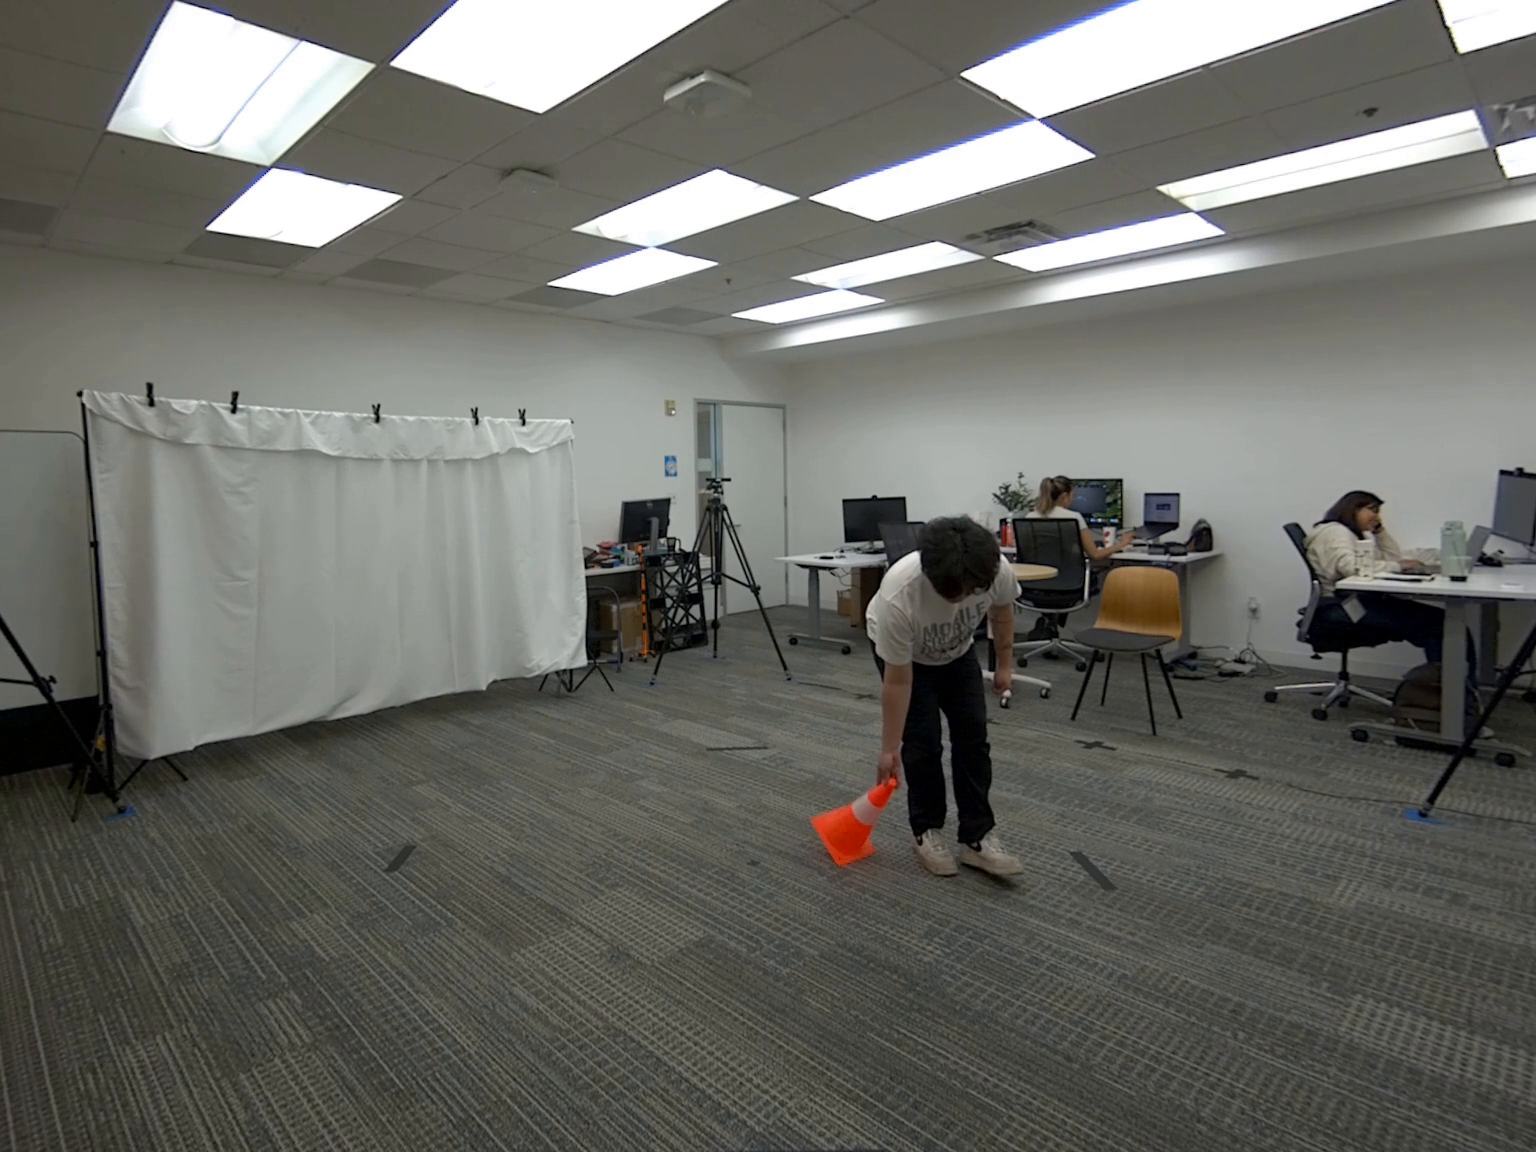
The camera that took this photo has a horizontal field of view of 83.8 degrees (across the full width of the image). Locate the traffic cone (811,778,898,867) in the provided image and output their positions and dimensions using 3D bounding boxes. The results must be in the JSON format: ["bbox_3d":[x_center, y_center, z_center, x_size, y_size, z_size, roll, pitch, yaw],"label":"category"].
[{"bbox_3d":[0.361,0.838,3.059,0.200,0.378,0.211,-10,49,-35],"label":"traffic cone"}]
